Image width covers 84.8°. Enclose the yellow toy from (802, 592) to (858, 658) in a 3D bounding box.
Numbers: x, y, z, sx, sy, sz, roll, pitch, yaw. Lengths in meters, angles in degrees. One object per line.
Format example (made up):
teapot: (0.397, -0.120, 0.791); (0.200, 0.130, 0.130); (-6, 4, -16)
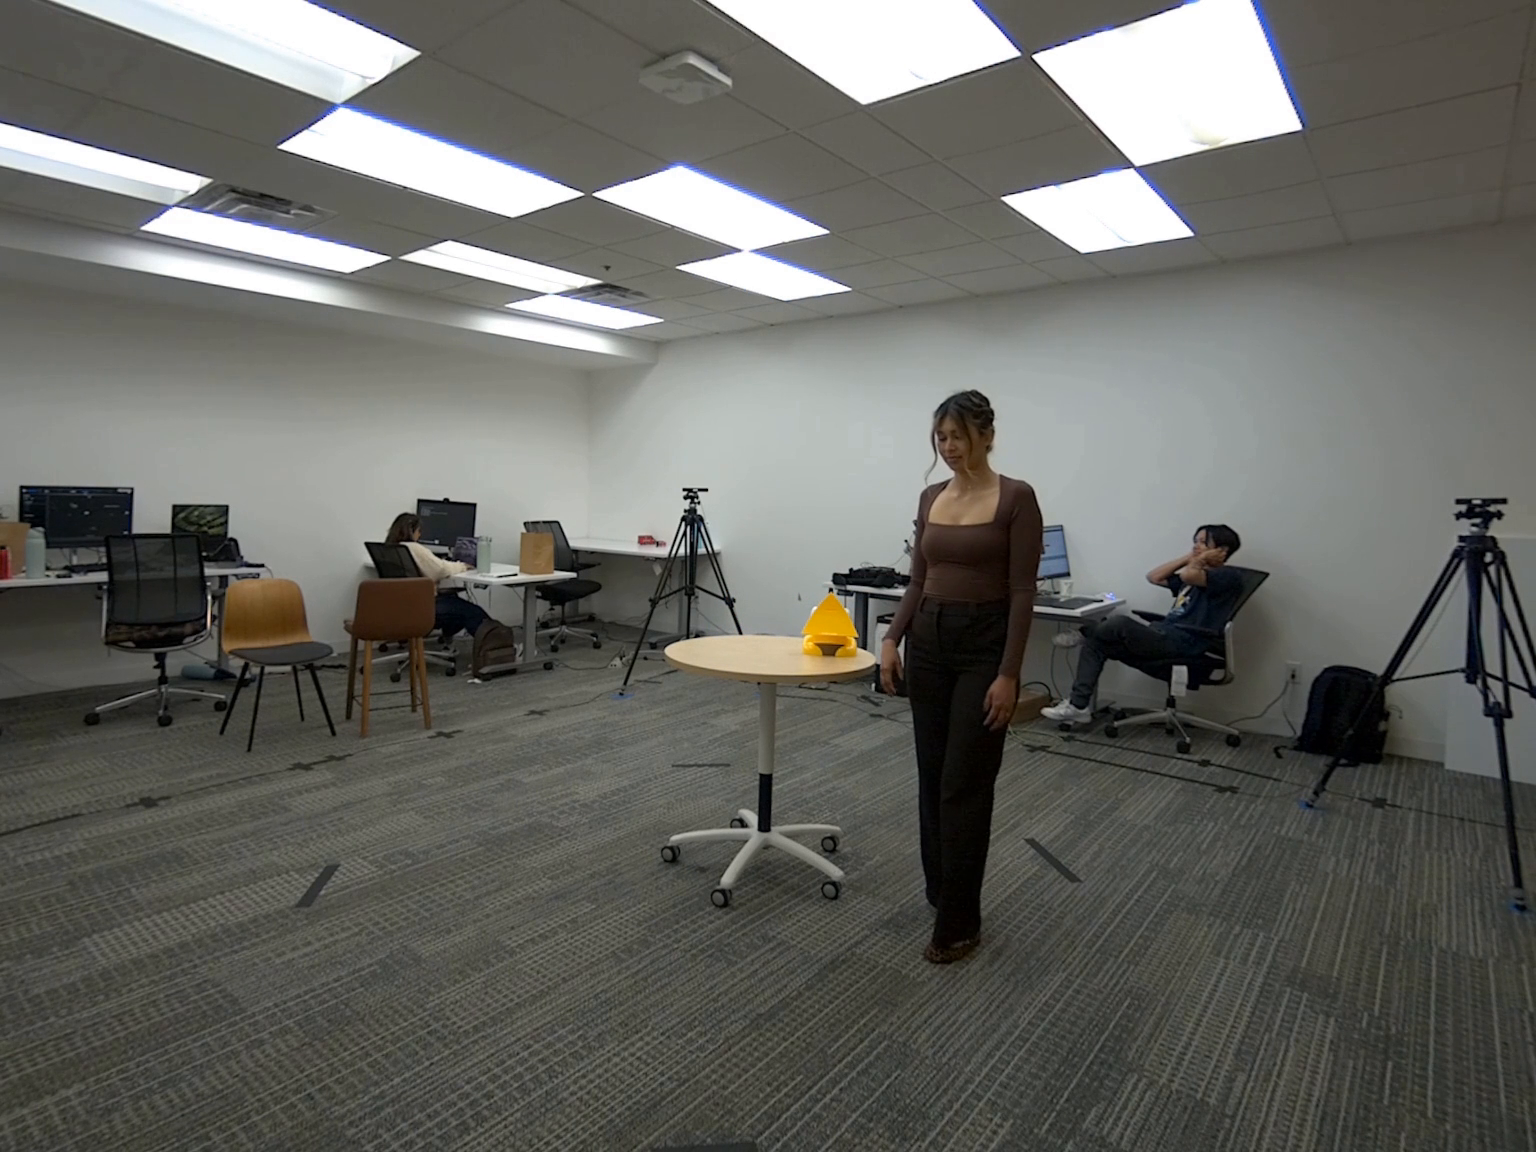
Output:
yellow toy: (0.223, 0.167, 3.138); (0.206, 0.230, 0.192); (2, 4, 6)
